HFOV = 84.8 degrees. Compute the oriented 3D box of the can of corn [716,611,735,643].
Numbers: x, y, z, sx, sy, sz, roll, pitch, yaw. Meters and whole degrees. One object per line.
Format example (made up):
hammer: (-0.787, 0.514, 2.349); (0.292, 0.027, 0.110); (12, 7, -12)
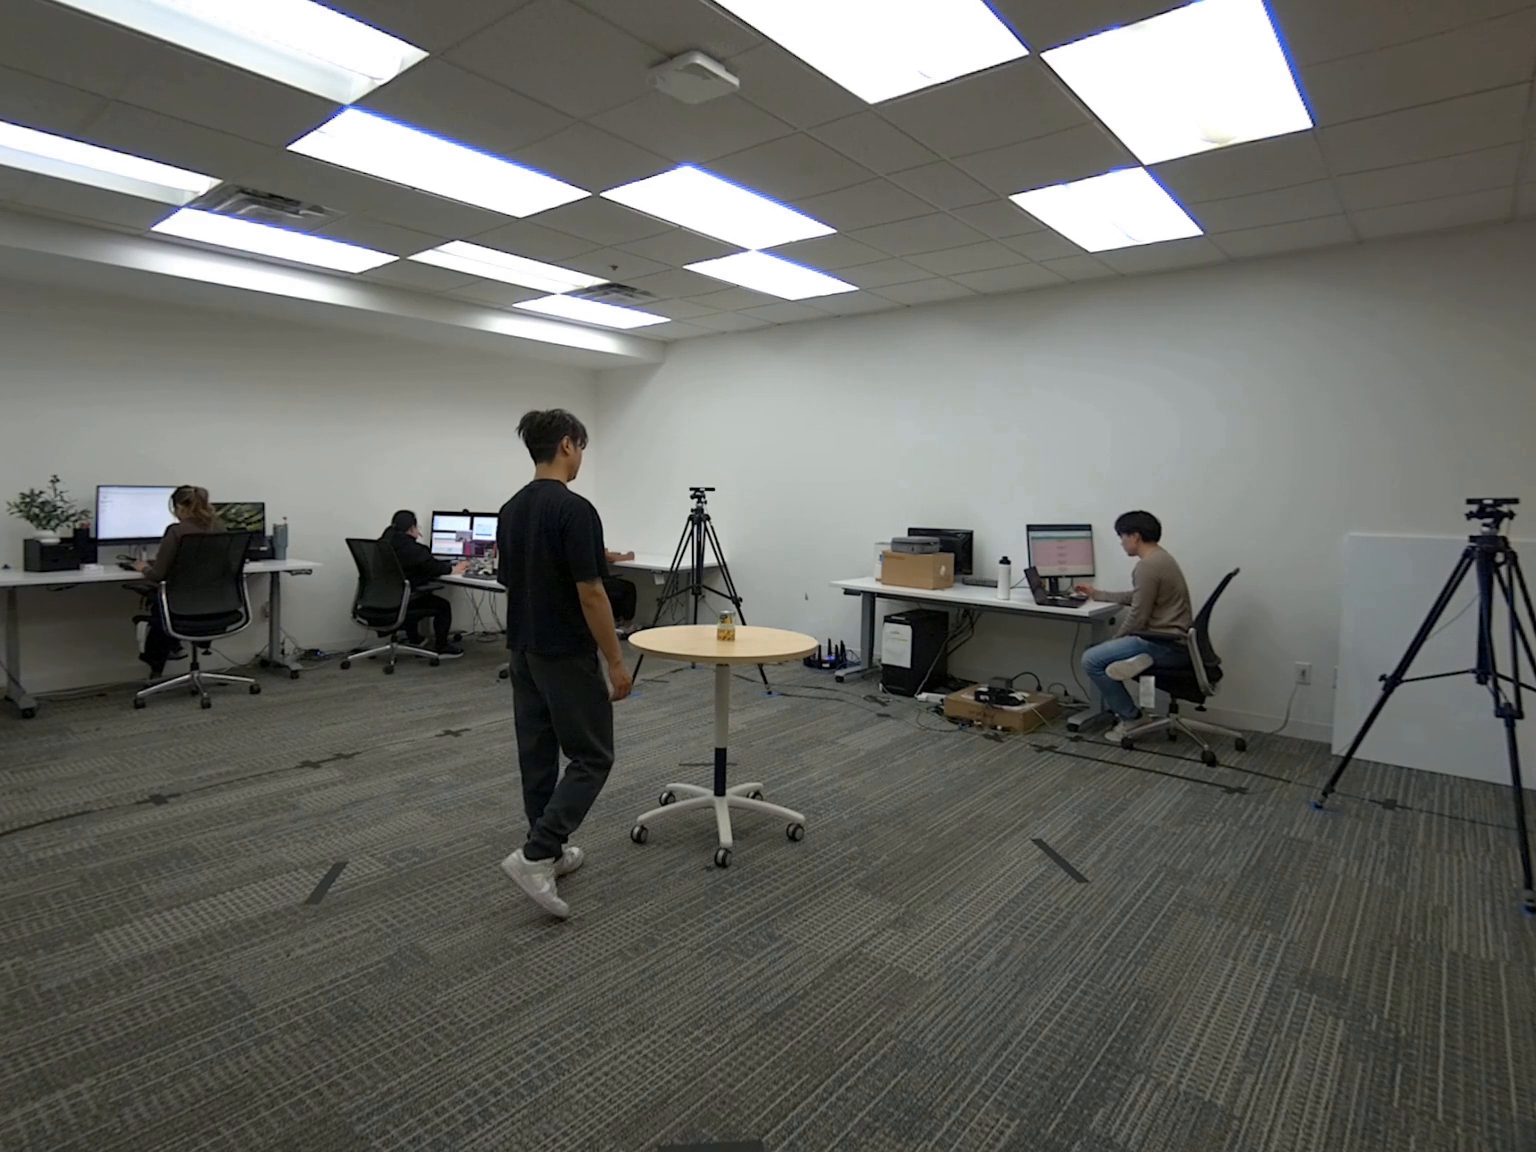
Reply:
can of corn: (-0.183, 0.200, 3.442); (0.074, 0.111, 0.074); (4, 3, -2)
